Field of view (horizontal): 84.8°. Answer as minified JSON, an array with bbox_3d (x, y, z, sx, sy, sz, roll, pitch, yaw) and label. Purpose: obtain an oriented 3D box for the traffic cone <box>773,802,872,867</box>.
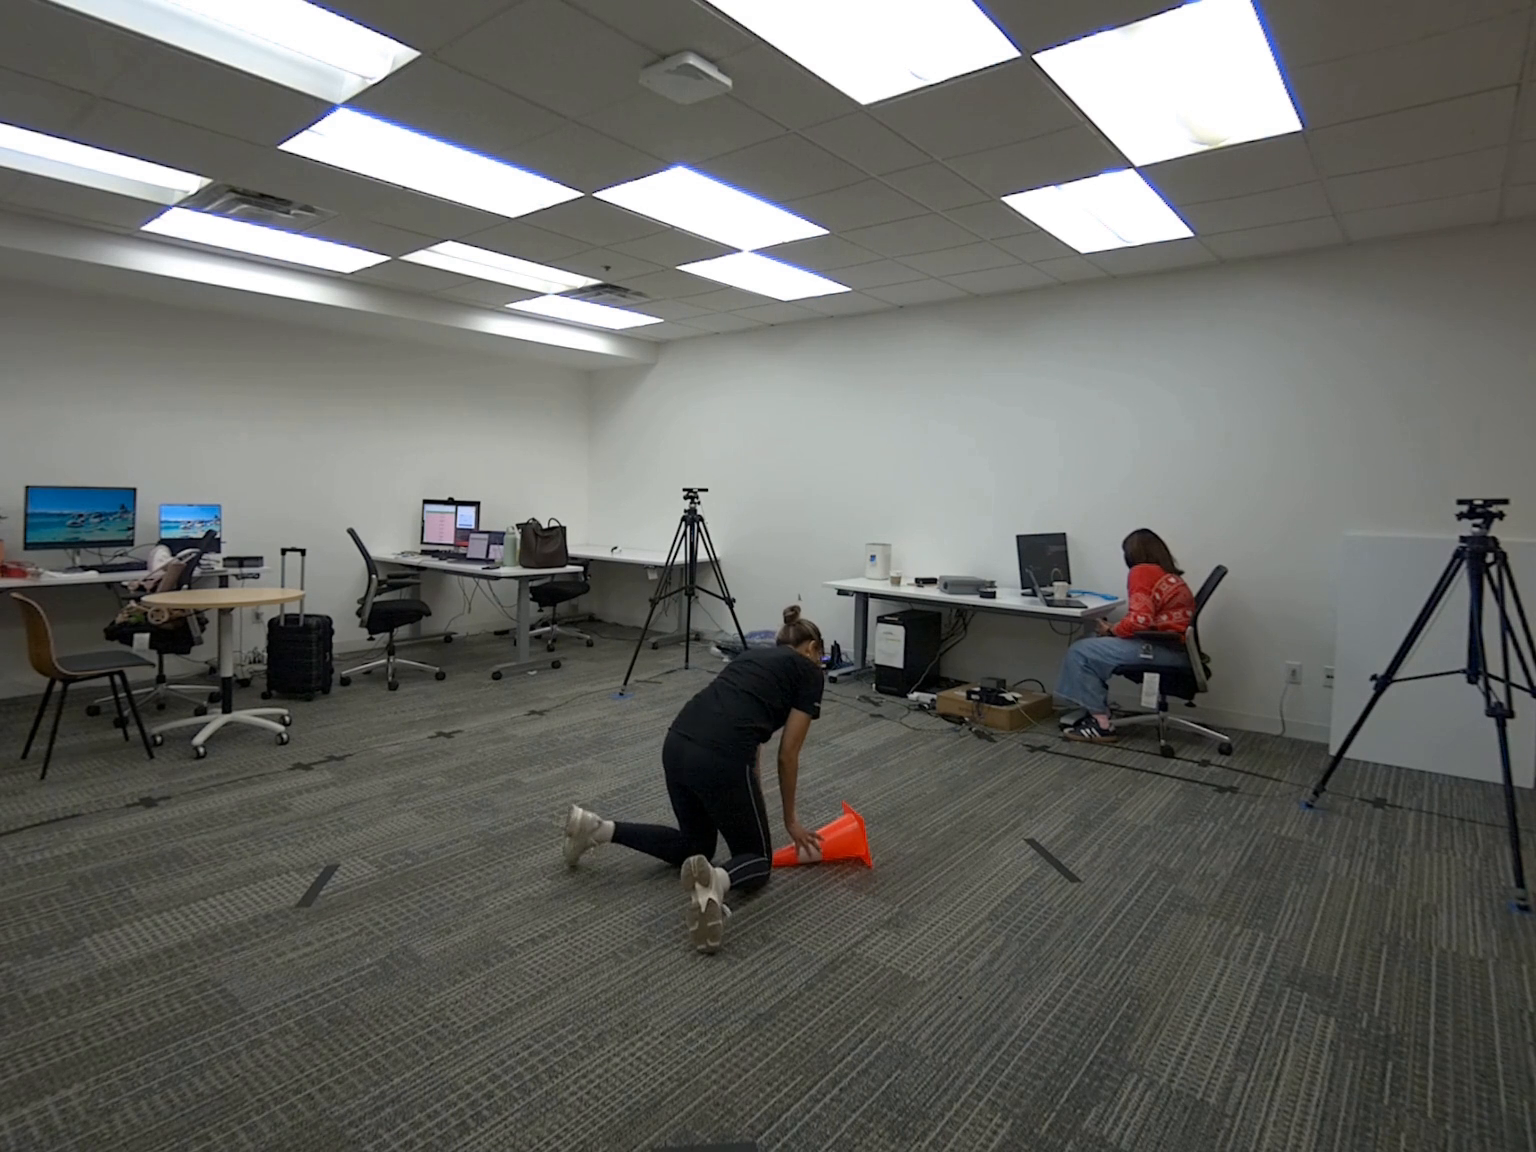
[{"bbox_3d":[0.156,1.029,3.172,0.379,0.201,0.209,-13,9,-14],"label":"traffic cone"}]
